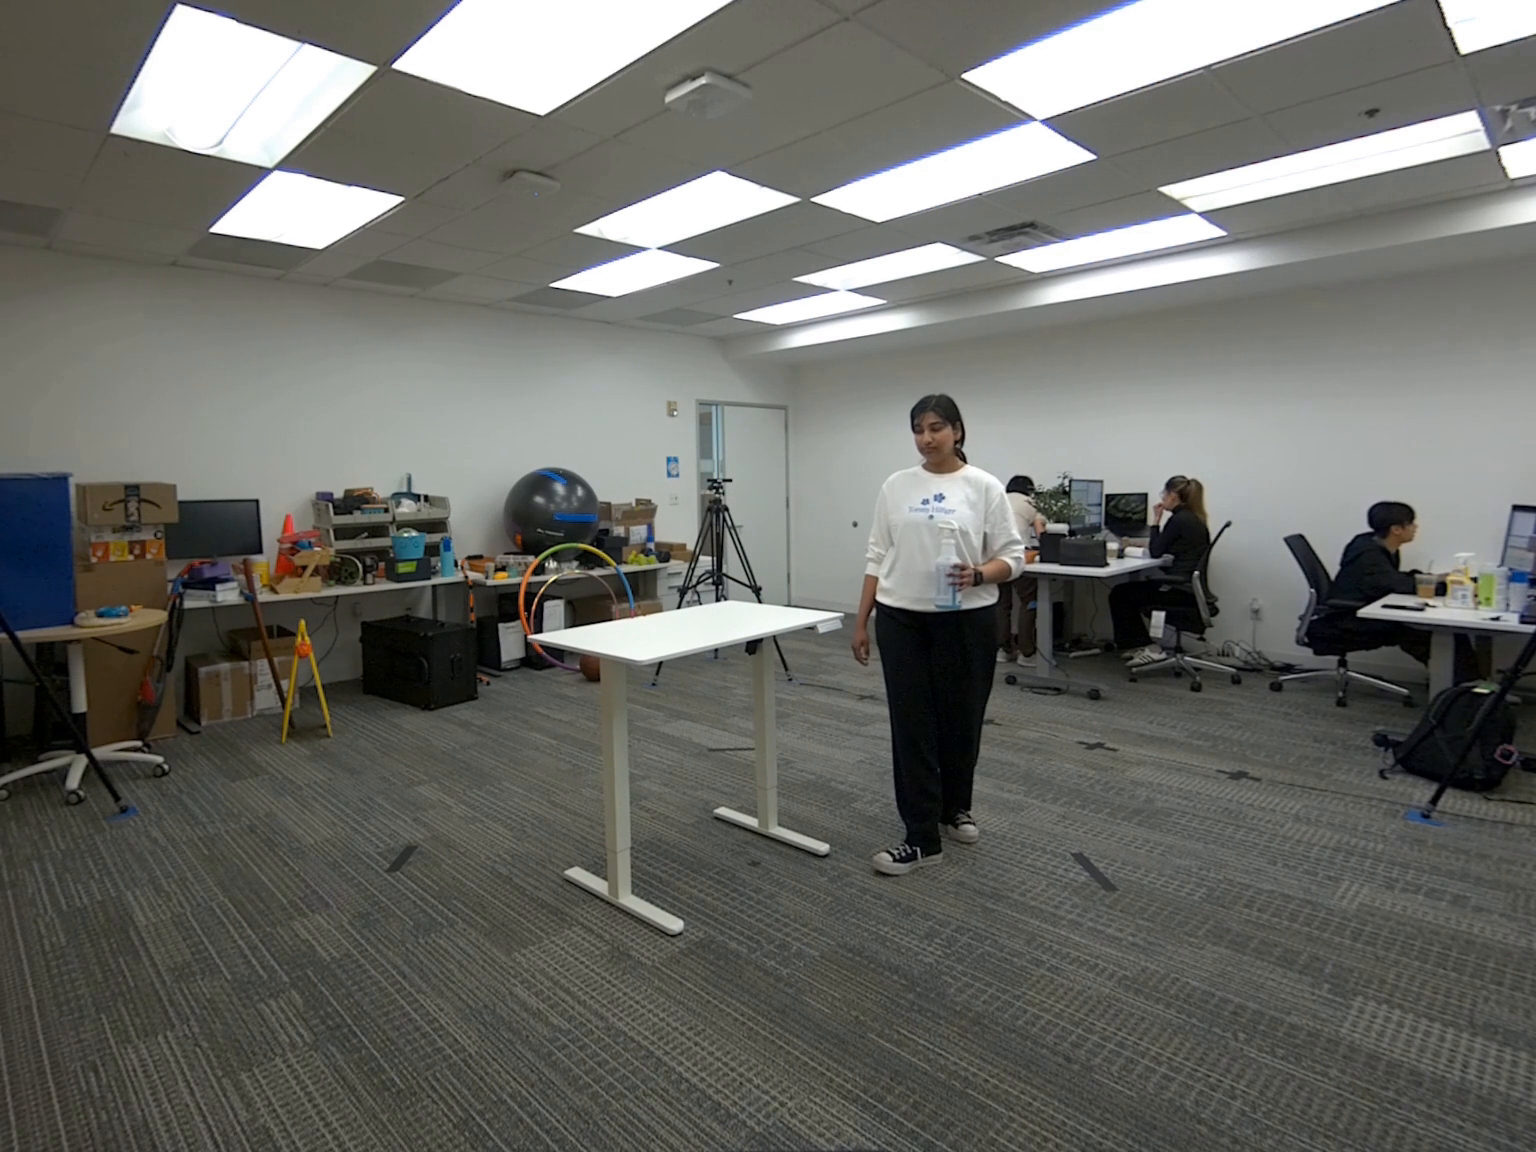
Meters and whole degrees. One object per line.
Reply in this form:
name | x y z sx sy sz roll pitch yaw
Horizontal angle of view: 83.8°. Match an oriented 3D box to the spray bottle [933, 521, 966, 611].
spray bottle | 0.607 -0.039 2.870 0.086 0.298 0.091 1 -1 -11
